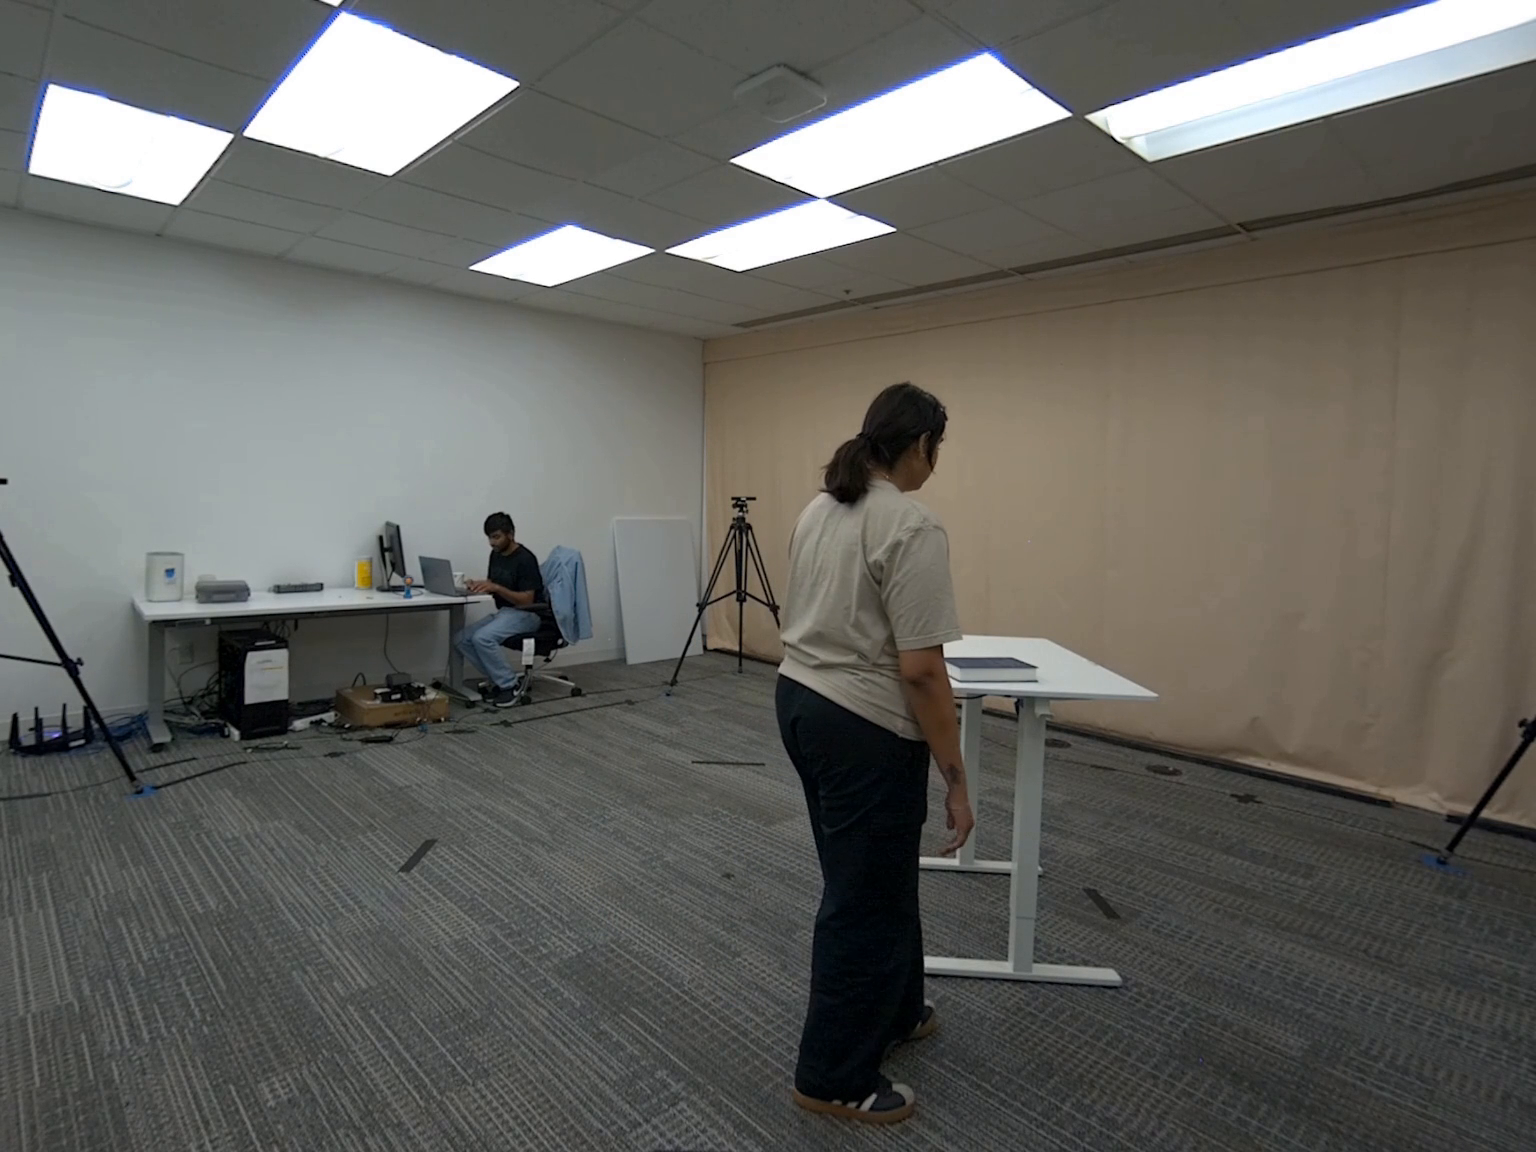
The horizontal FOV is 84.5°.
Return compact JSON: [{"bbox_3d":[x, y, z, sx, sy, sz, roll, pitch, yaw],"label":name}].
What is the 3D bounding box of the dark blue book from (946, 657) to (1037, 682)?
[{"bbox_3d":[0.649,0.279,2.486,0.243,0.045,0.165,2,5,-10],"label":"dark blue book"}]
